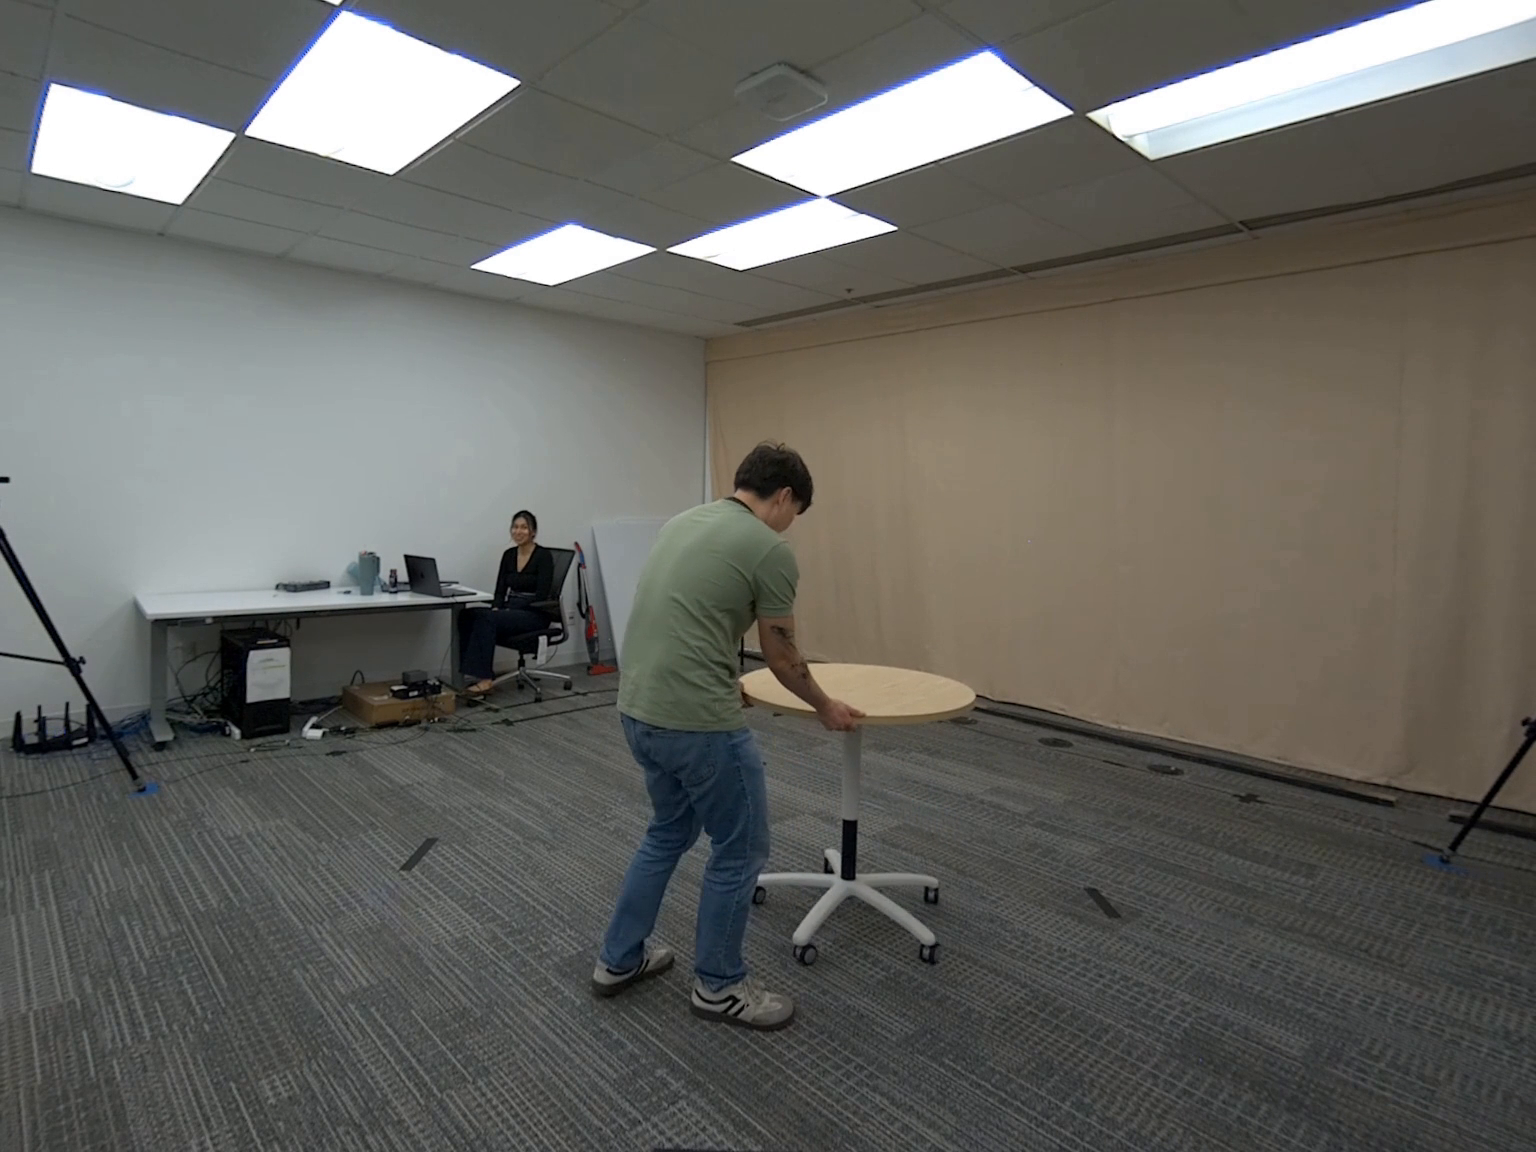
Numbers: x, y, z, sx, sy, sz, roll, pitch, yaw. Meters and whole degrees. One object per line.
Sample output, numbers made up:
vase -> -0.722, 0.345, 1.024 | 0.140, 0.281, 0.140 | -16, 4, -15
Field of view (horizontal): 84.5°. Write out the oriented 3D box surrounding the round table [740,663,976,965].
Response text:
round table -> 0.274, 0.755, 2.776 | 0.763, 0.792, 0.767 | 1, 4, -1
